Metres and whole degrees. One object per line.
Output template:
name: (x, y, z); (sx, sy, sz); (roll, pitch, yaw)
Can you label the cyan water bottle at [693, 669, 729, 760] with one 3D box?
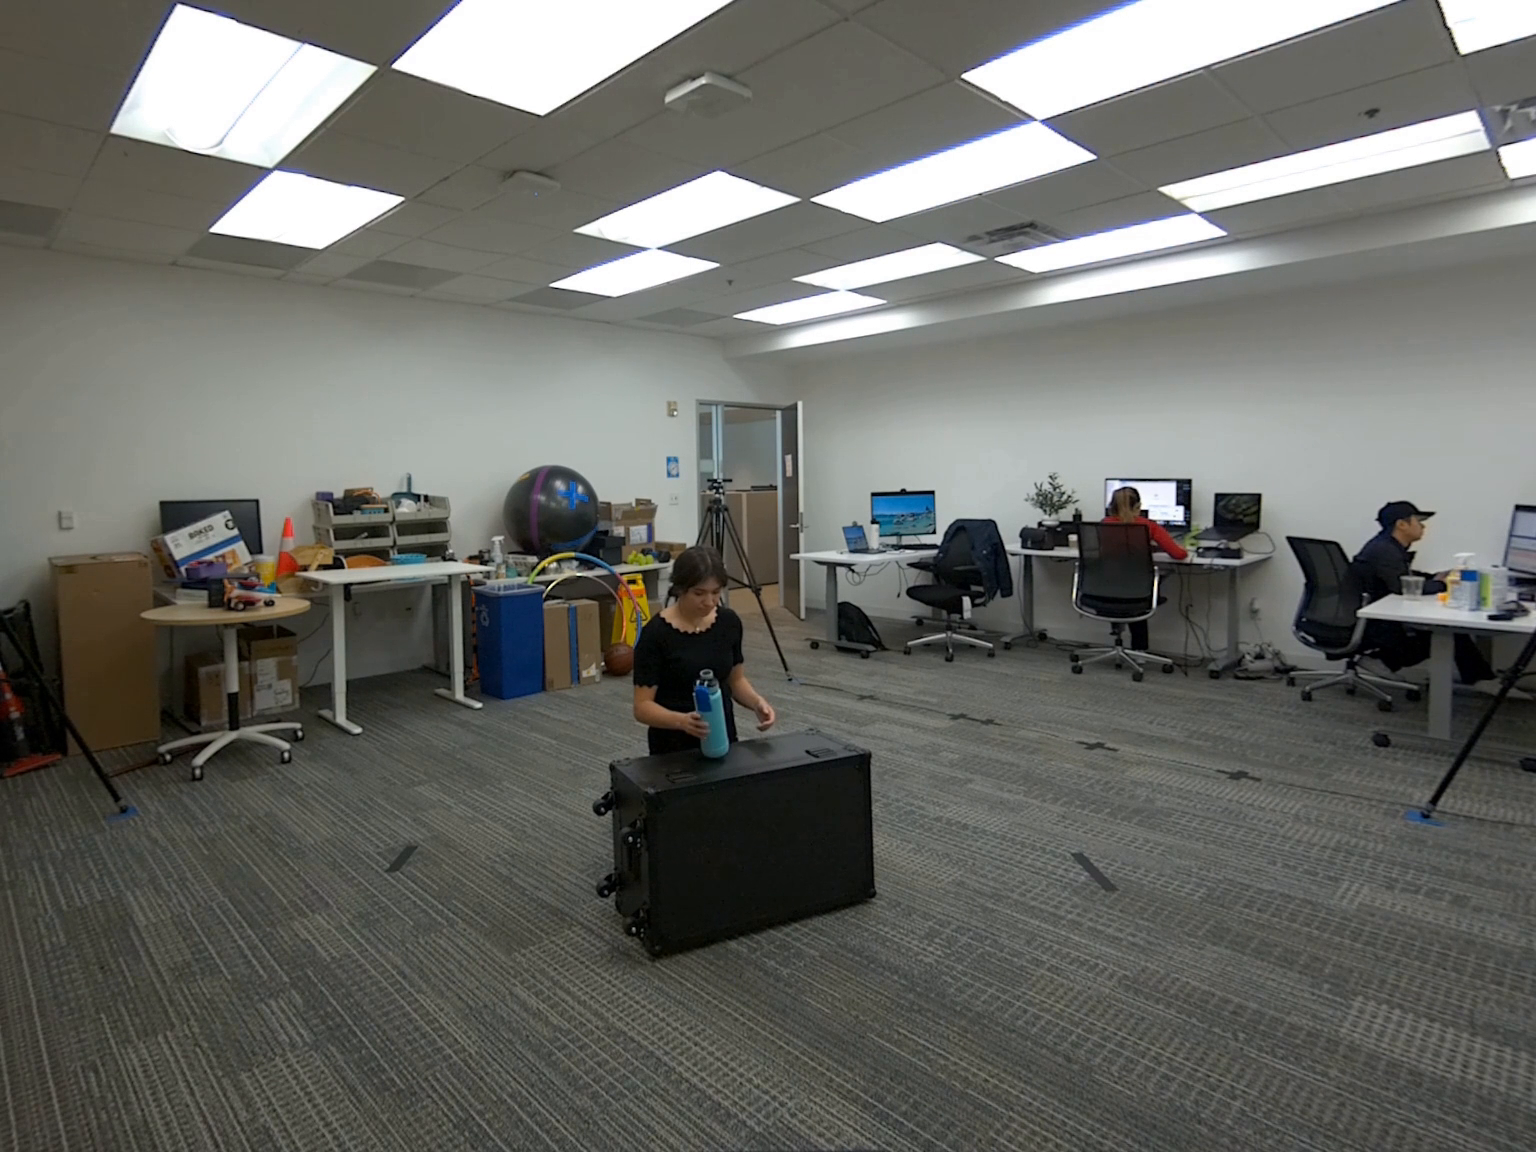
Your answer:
cyan water bottle: (-0.185, 0.452, 2.757); (0.092, 0.277, 0.094); (-7, 23, 1)
